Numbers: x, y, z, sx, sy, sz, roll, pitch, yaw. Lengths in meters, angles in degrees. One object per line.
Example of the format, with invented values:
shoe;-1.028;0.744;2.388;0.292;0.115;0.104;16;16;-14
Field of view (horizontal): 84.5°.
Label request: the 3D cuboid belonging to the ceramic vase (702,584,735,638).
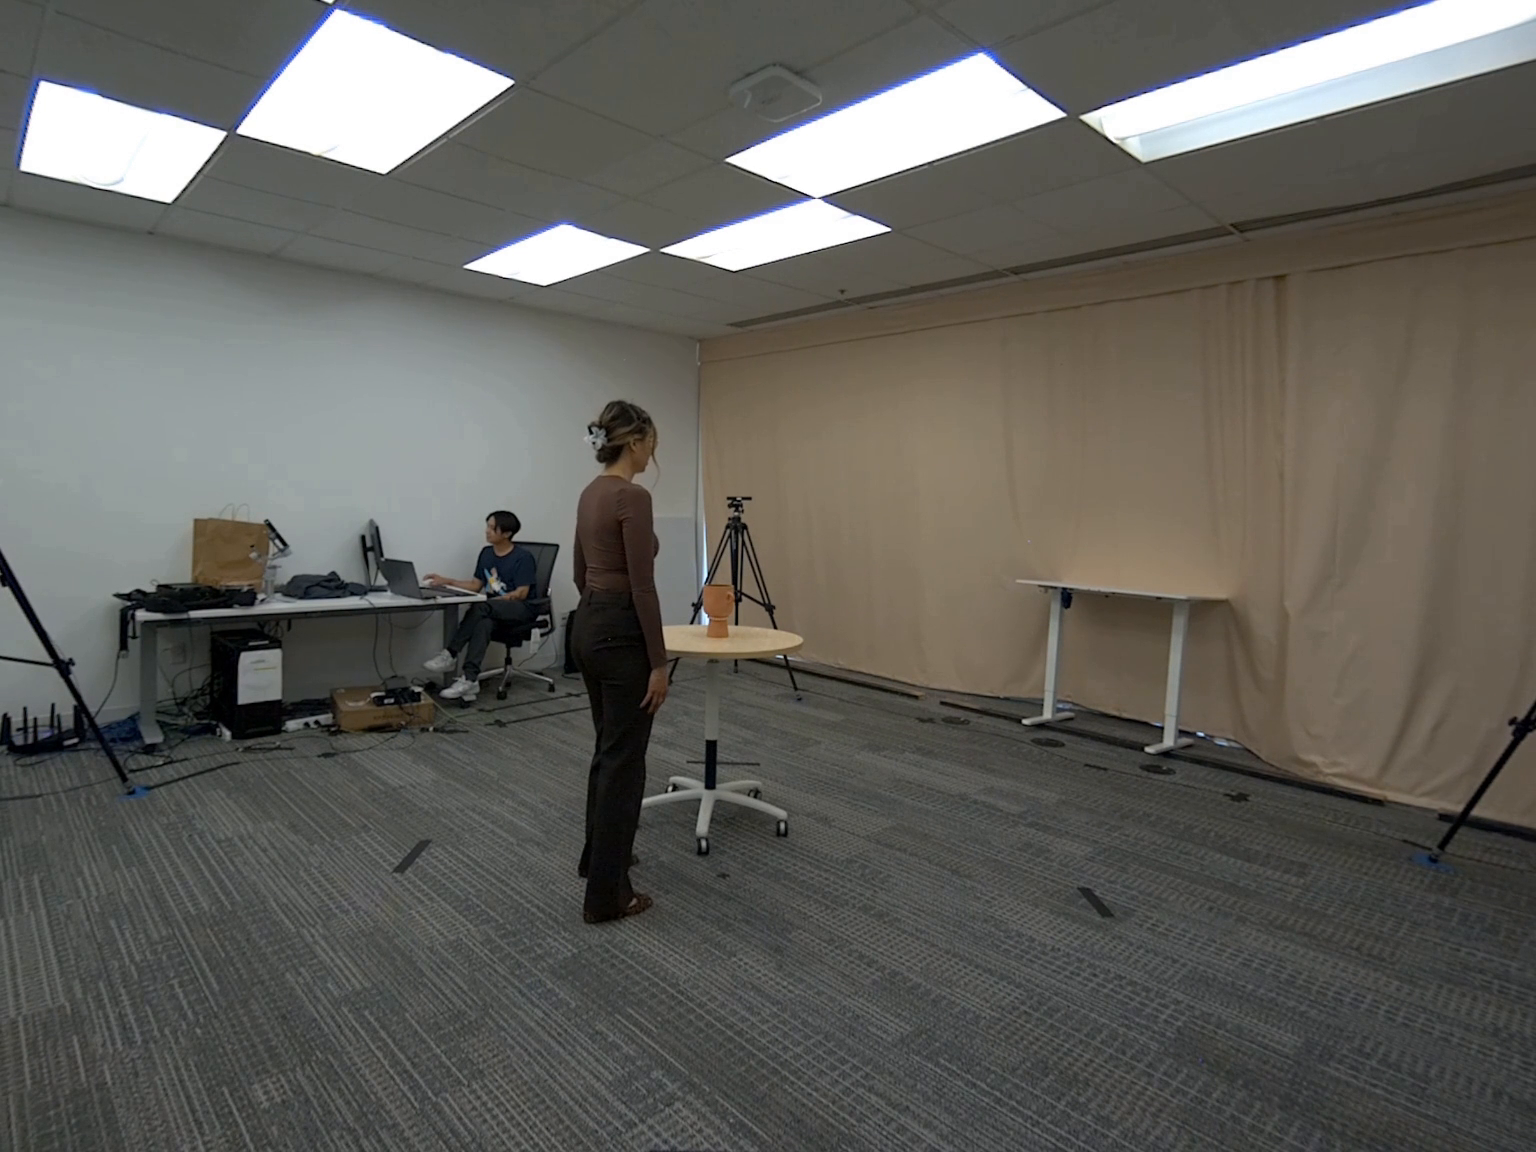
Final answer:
ceramic vase;-0.236;0.152;3.646;0.134;0.219;0.160;1;1;-6
